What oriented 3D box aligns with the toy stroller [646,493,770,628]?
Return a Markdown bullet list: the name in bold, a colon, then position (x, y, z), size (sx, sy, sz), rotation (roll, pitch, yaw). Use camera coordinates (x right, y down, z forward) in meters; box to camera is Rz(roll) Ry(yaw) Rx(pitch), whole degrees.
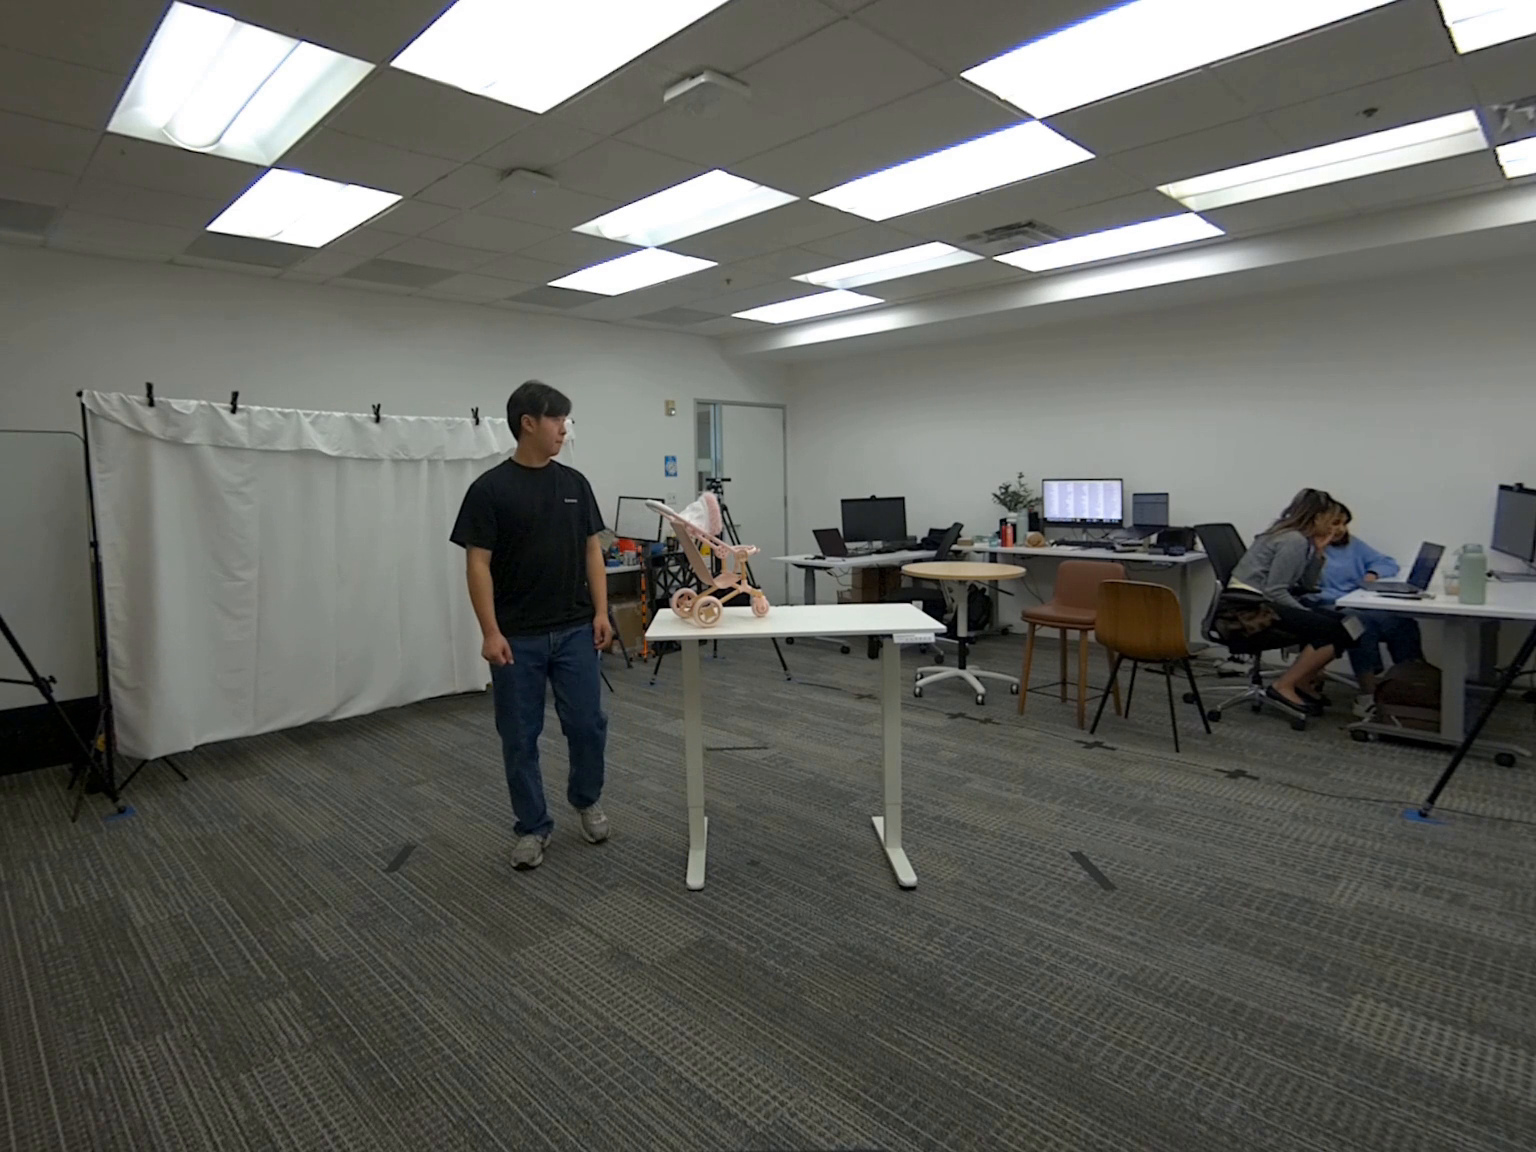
- **toy stroller**: position (-0.198, -0.062, 3.090), size (0.338, 0.530, 0.287), rotation (-17, 9, -15)
